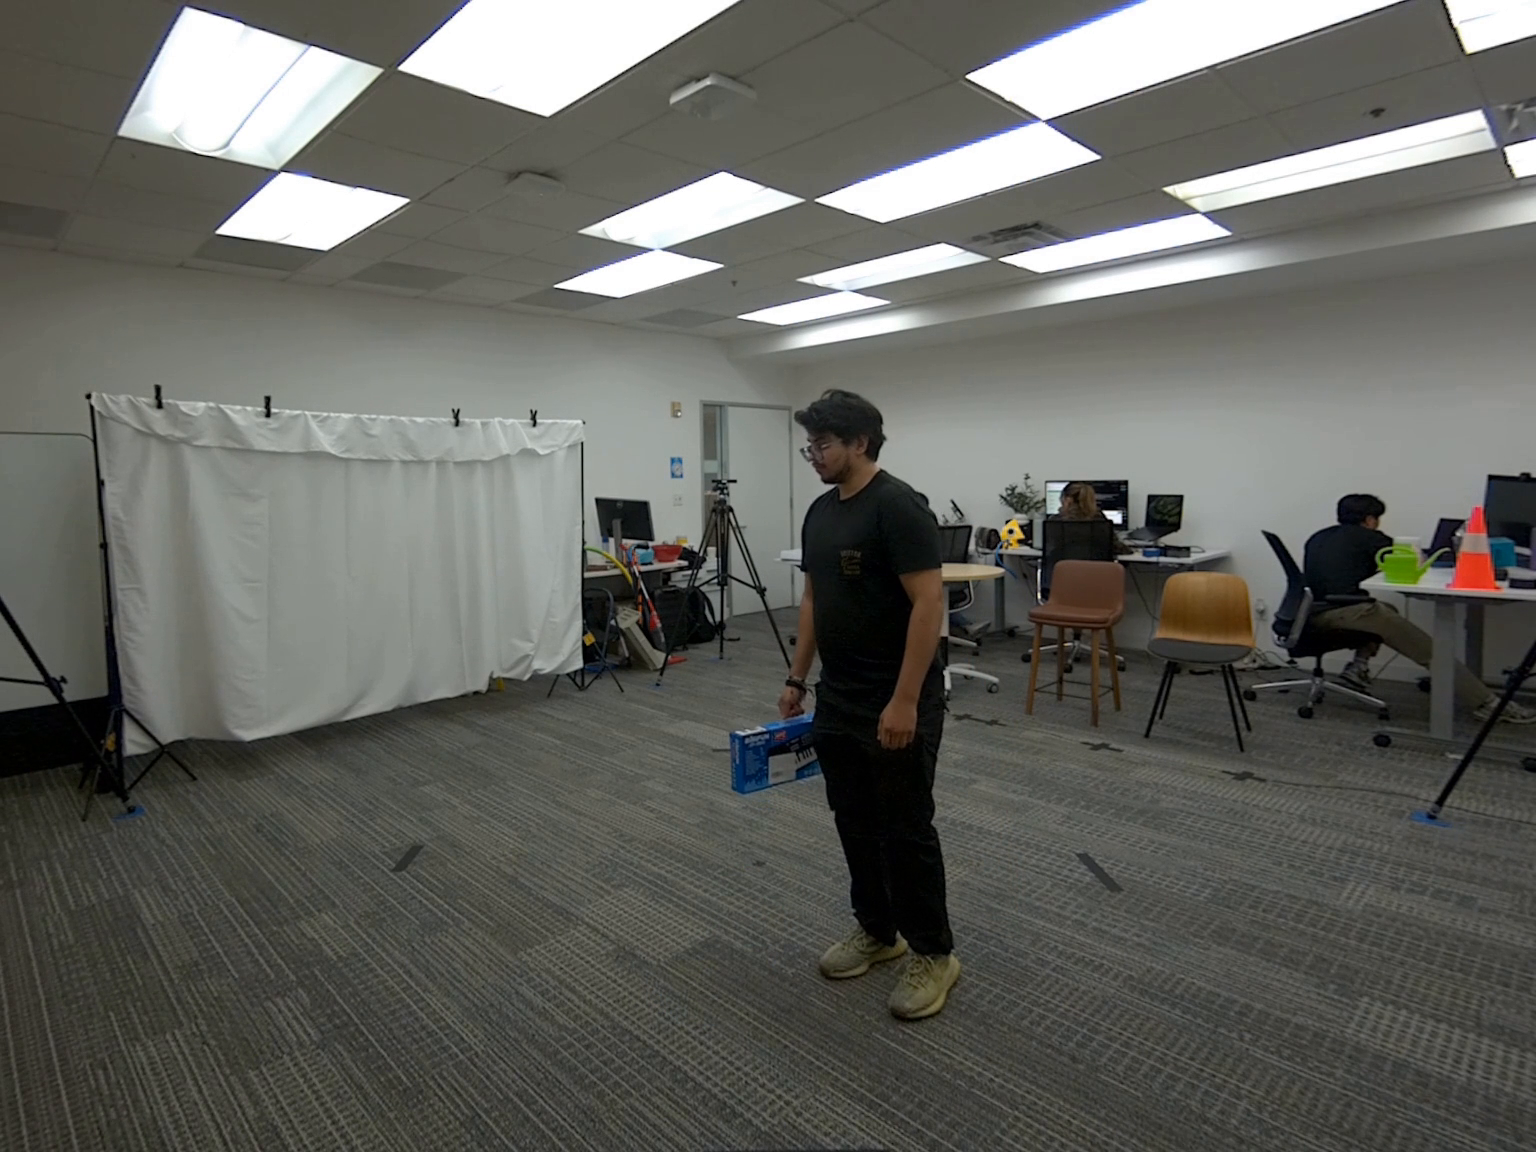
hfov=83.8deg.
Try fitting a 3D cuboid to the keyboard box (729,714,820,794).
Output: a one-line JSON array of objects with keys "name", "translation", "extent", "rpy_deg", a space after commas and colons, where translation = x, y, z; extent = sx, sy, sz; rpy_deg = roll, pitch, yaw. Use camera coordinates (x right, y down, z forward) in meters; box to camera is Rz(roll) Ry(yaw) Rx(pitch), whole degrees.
[{"name": "keyboard box", "translation": [0.088, 0.528, 2.593], "extent": [0.426, 0.175, 0.061], "rpy_deg": [-5, 3, -34]}]
